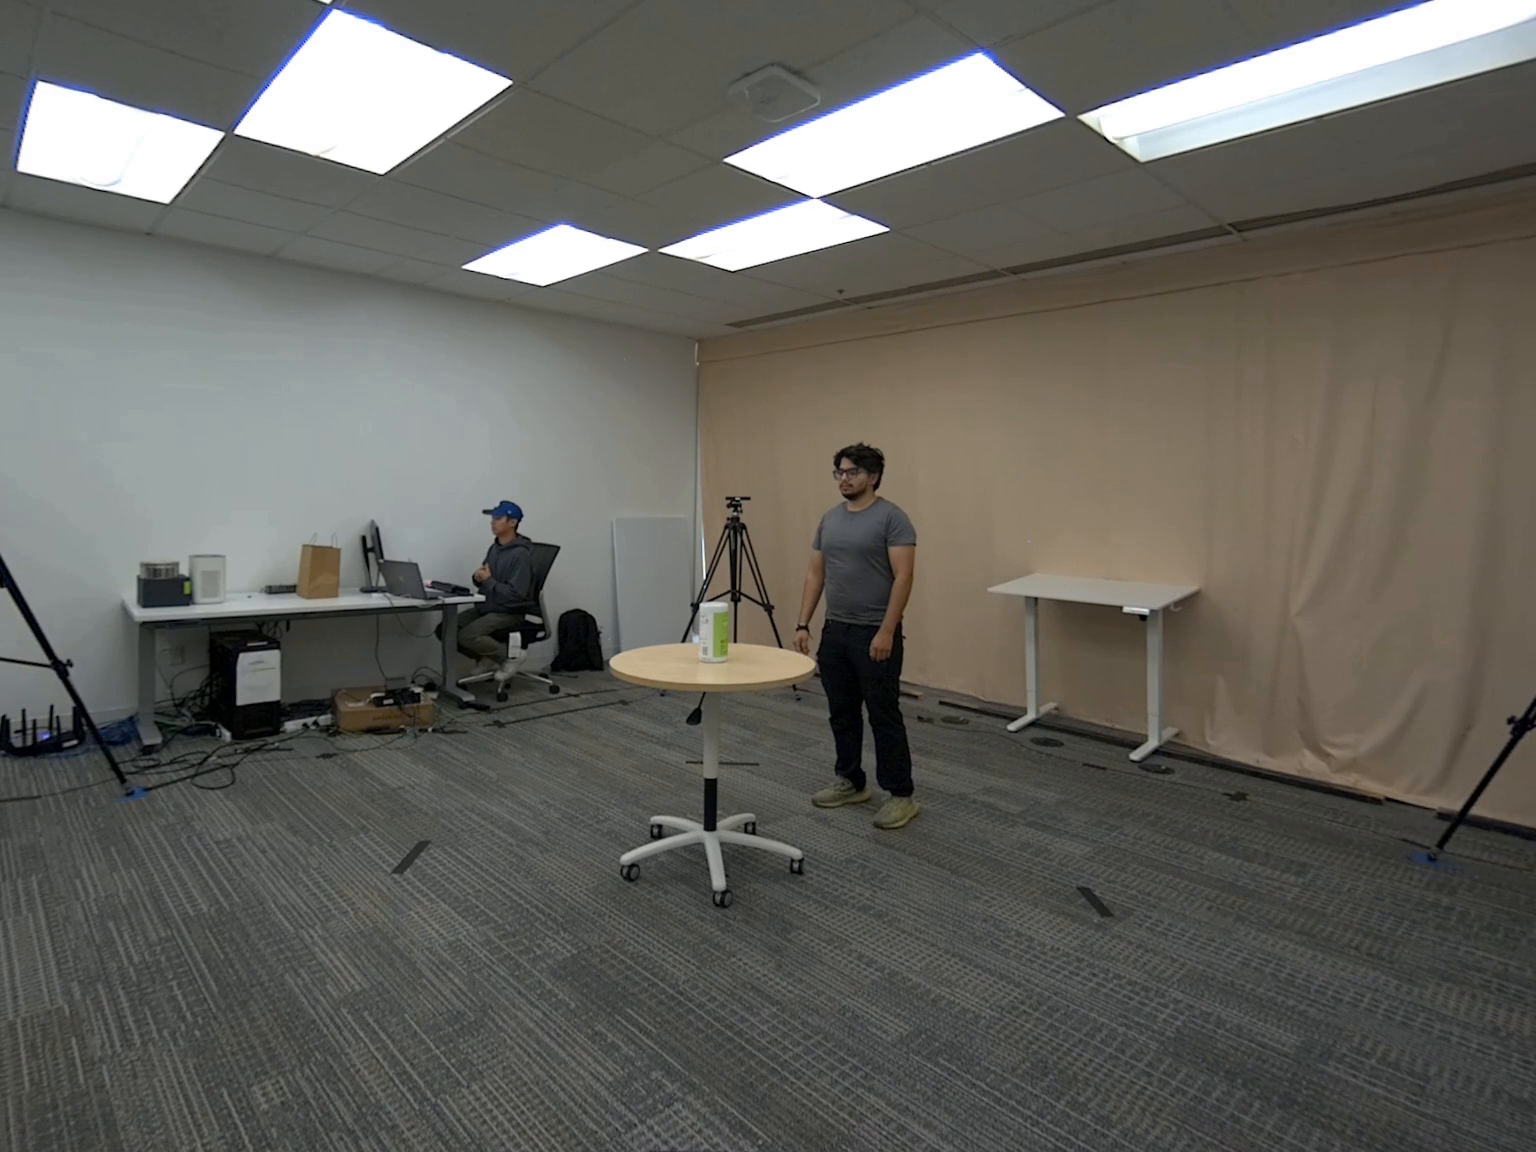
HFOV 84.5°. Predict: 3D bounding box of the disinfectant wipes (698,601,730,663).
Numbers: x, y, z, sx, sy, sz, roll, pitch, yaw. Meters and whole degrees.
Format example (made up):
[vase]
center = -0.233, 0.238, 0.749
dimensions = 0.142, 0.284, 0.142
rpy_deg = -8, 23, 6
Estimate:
[disinfectant wipes]
center = -0.210, 0.213, 3.144
dimensions = 0.118, 0.217, 0.118
rpy_deg = 2, 4, -2
